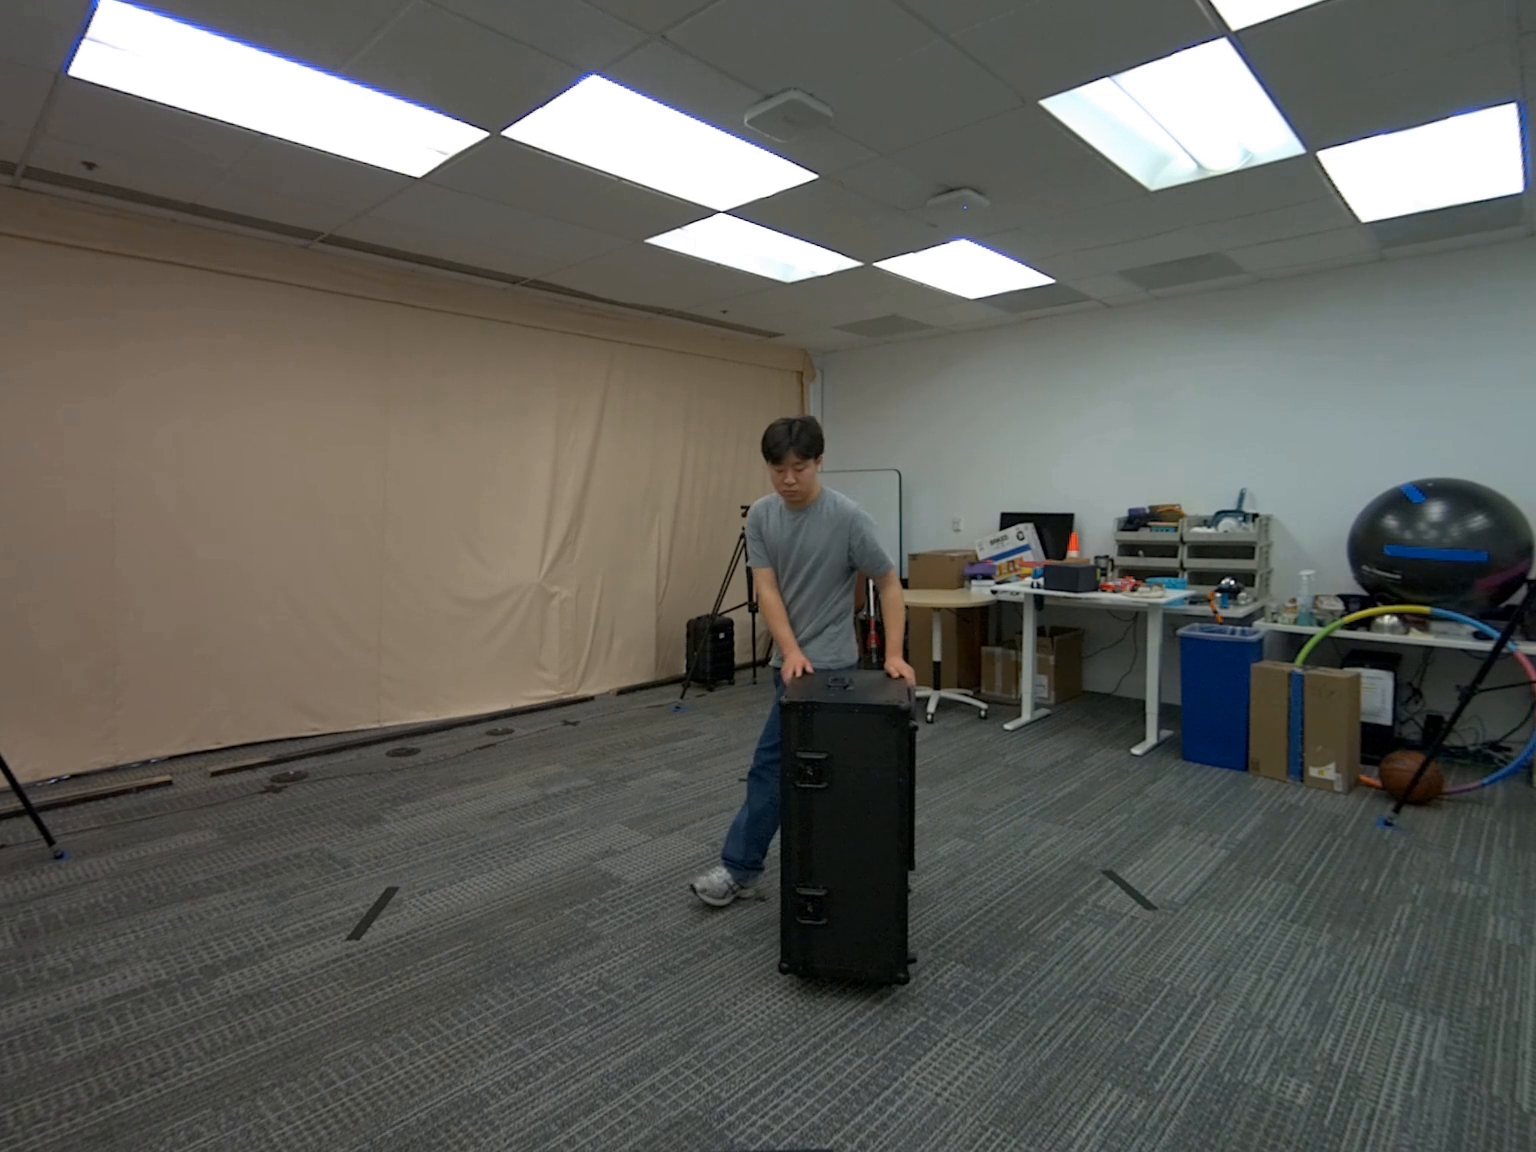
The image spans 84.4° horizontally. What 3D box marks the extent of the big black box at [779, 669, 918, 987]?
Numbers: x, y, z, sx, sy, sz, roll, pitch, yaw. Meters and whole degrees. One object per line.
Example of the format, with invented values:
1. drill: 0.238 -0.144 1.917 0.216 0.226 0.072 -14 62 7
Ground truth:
1. big black box: 0.257 0.757 2.564 0.401 0.859 0.517 1 4 9
